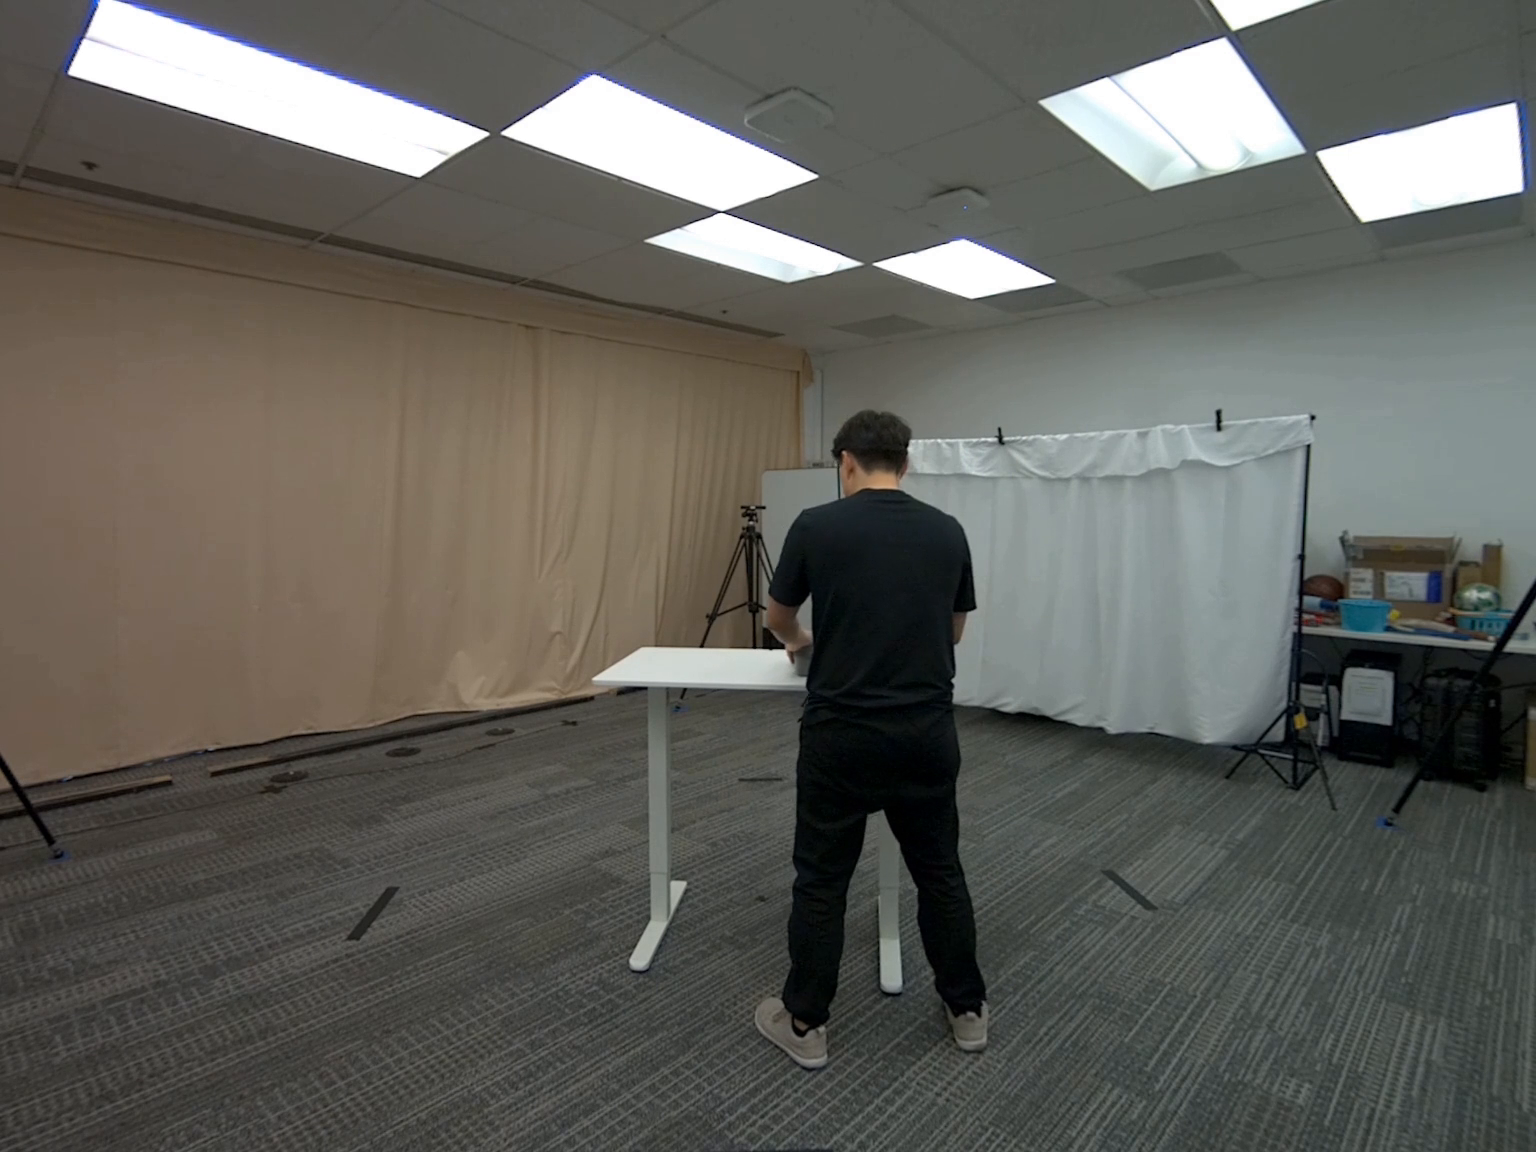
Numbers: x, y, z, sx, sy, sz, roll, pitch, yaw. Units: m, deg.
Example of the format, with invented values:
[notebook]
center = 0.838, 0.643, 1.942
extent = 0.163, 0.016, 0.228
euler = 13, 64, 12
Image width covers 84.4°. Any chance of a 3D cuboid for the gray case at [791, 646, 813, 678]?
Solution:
[gray case]
center = 0.202, 0.240, 2.613
extent = 0.258, 0.104, 0.260
euler = -1, 5, 2
